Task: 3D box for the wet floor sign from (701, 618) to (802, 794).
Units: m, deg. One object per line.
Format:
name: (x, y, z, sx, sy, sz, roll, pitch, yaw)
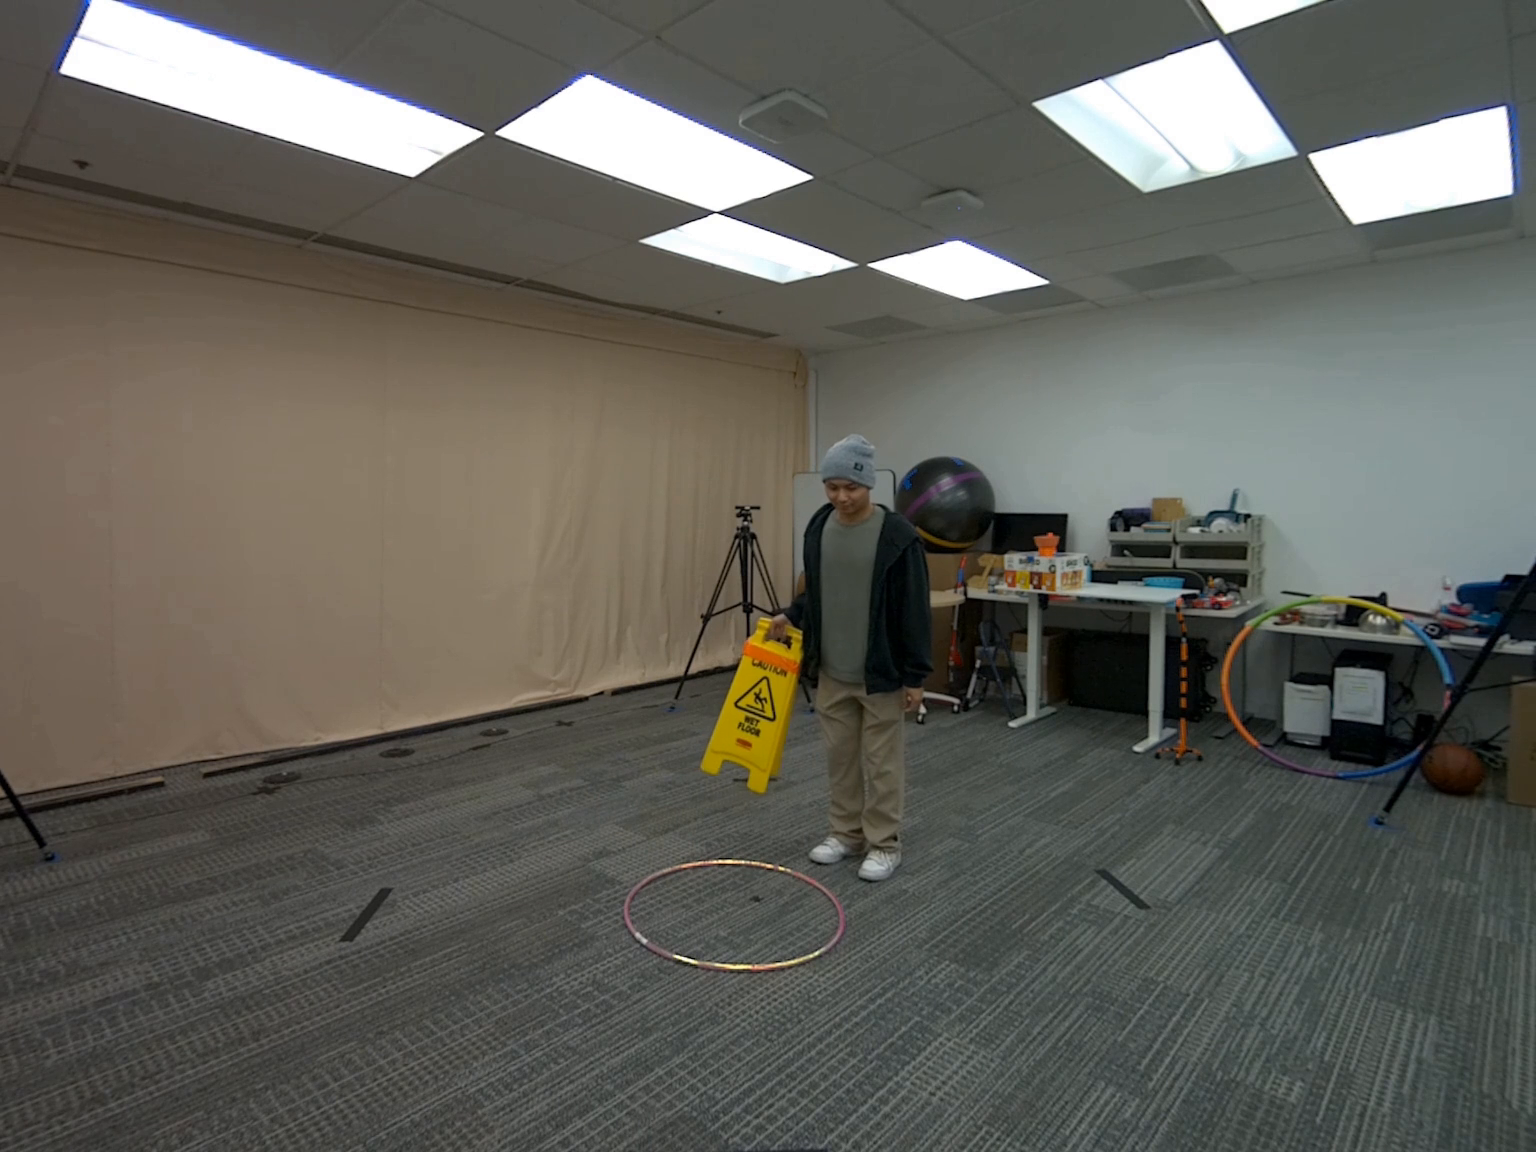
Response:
wet floor sign: (-0.031, 0.505, 3.437, 0.287, 0.644, 0.286, 17, 8, 12)
